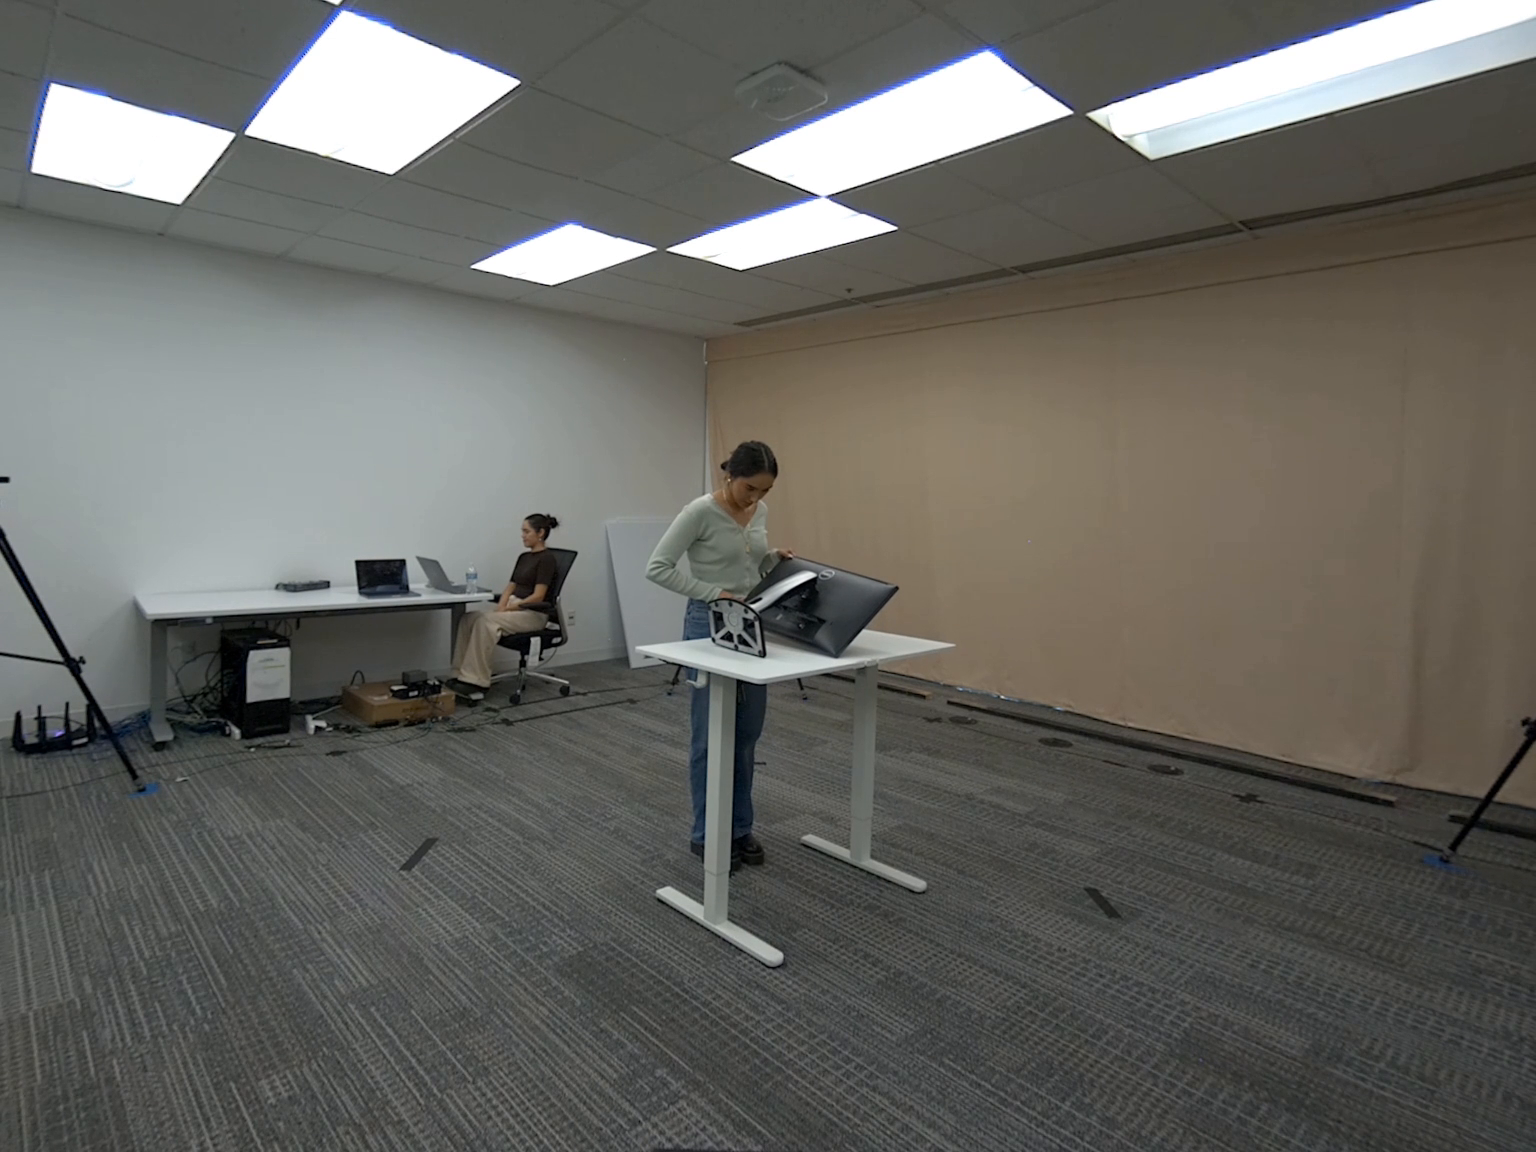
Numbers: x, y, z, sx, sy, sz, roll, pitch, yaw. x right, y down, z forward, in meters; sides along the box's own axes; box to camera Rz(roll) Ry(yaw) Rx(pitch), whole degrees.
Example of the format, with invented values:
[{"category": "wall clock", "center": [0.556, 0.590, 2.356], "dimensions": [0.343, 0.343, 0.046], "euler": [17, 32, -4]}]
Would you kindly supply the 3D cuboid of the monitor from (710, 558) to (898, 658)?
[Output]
[{"category": "monitor", "center": [0.081, 0.091, 2.861], "dimensions": [0.555, 0.184, 0.516], "euler": [17, 32, 42]}]
